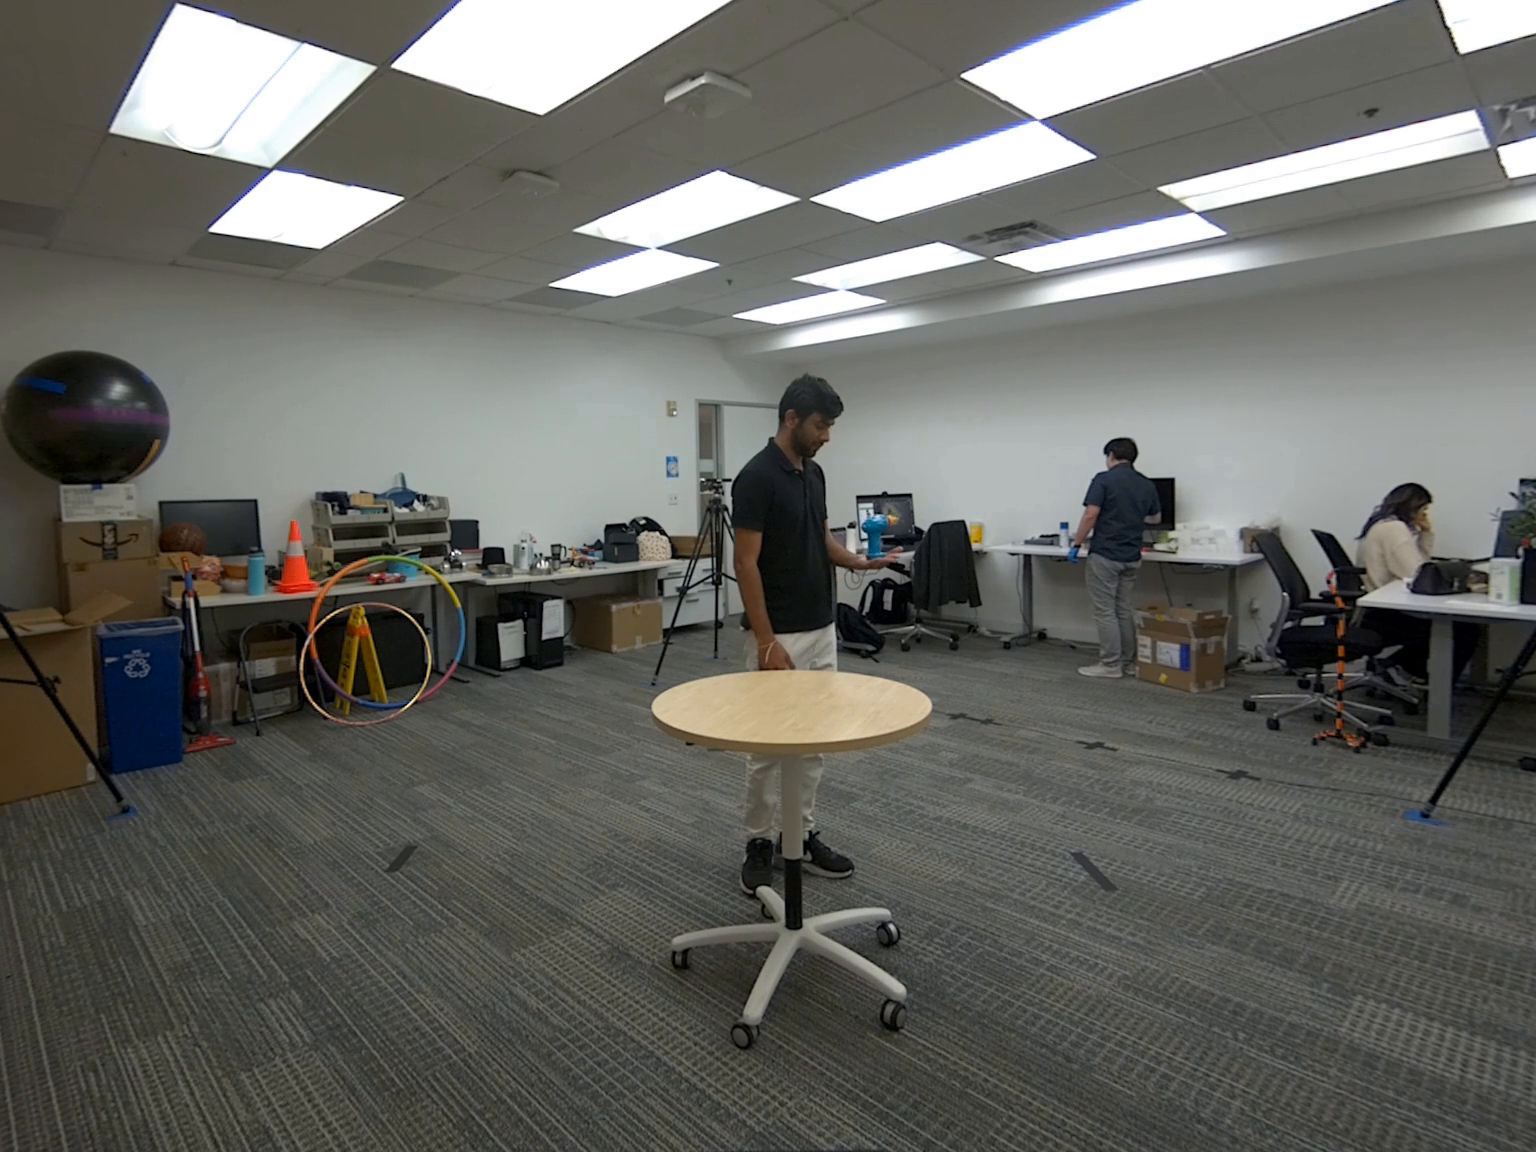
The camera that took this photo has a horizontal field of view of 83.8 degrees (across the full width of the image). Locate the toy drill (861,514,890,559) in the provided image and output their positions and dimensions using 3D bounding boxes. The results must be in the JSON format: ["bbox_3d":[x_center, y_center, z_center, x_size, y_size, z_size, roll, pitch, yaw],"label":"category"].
[{"bbox_3d":[0.375,-0.136,2.838,0.166,0.145,0.063,-16,11,-36],"label":"toy drill"}]
